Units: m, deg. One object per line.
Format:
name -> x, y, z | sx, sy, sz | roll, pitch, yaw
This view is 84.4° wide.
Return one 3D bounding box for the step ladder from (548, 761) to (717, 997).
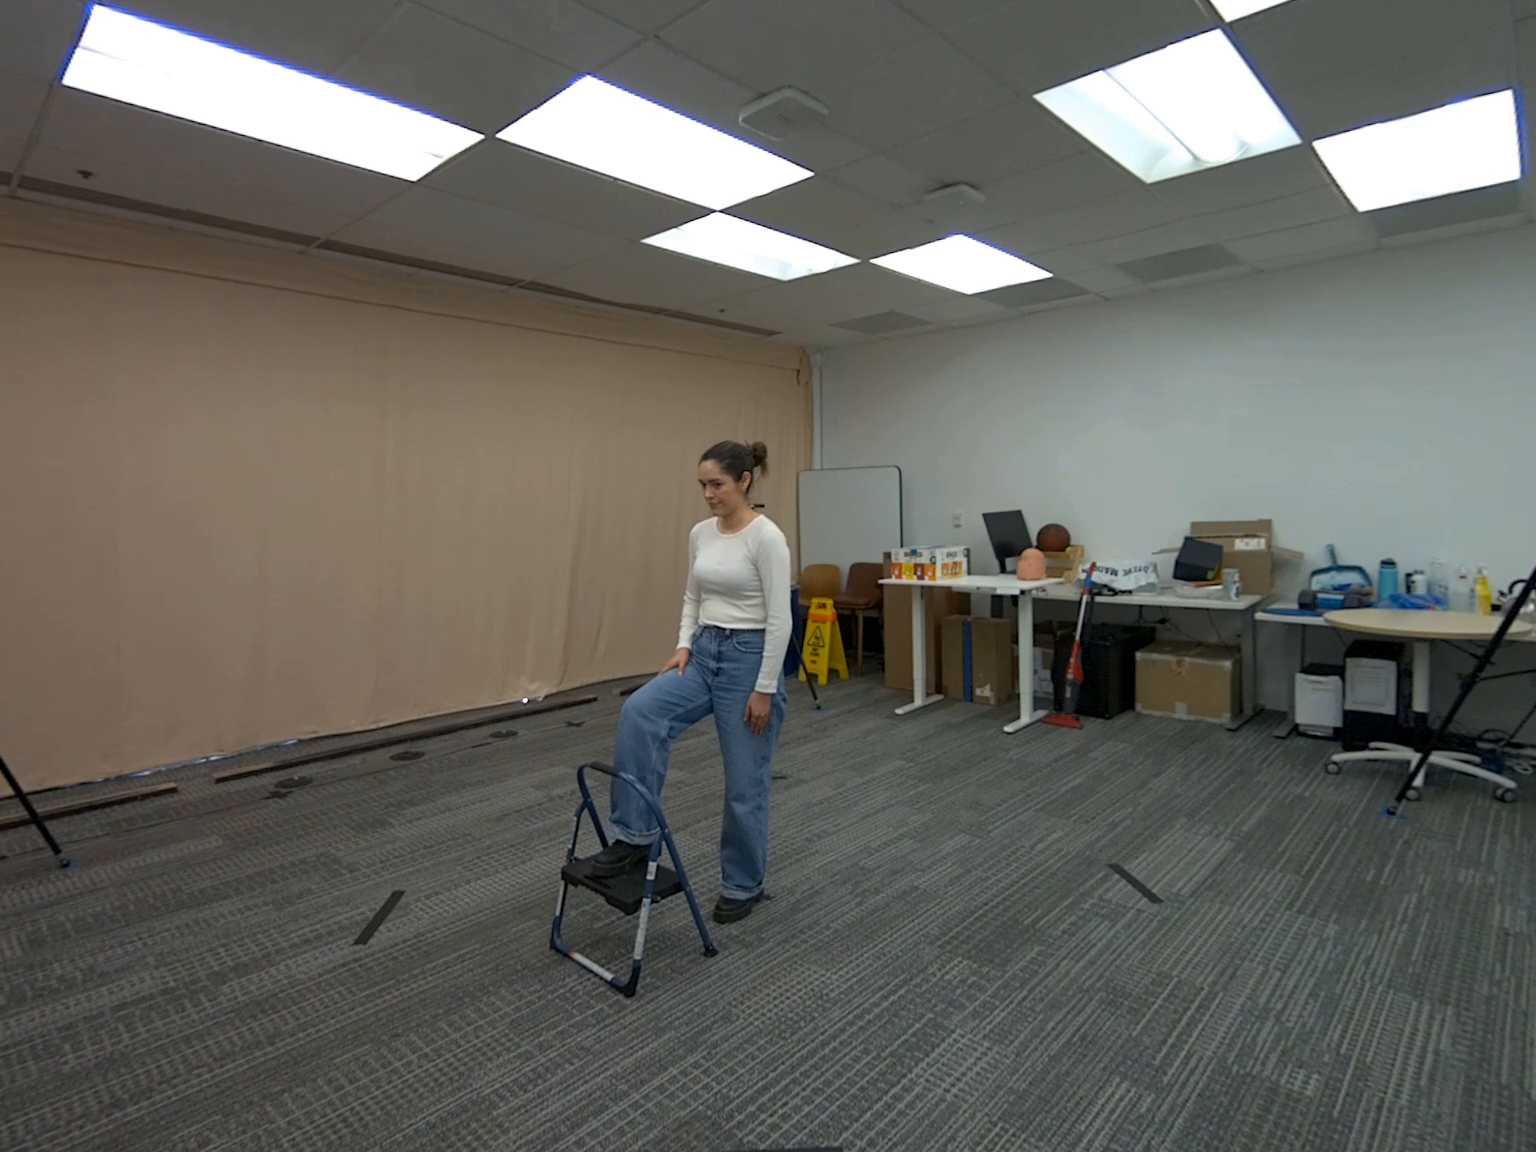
step ladder -> -0.433, 0.878, 2.632 | 0.445, 0.605, 0.339 | 2, 4, 43
